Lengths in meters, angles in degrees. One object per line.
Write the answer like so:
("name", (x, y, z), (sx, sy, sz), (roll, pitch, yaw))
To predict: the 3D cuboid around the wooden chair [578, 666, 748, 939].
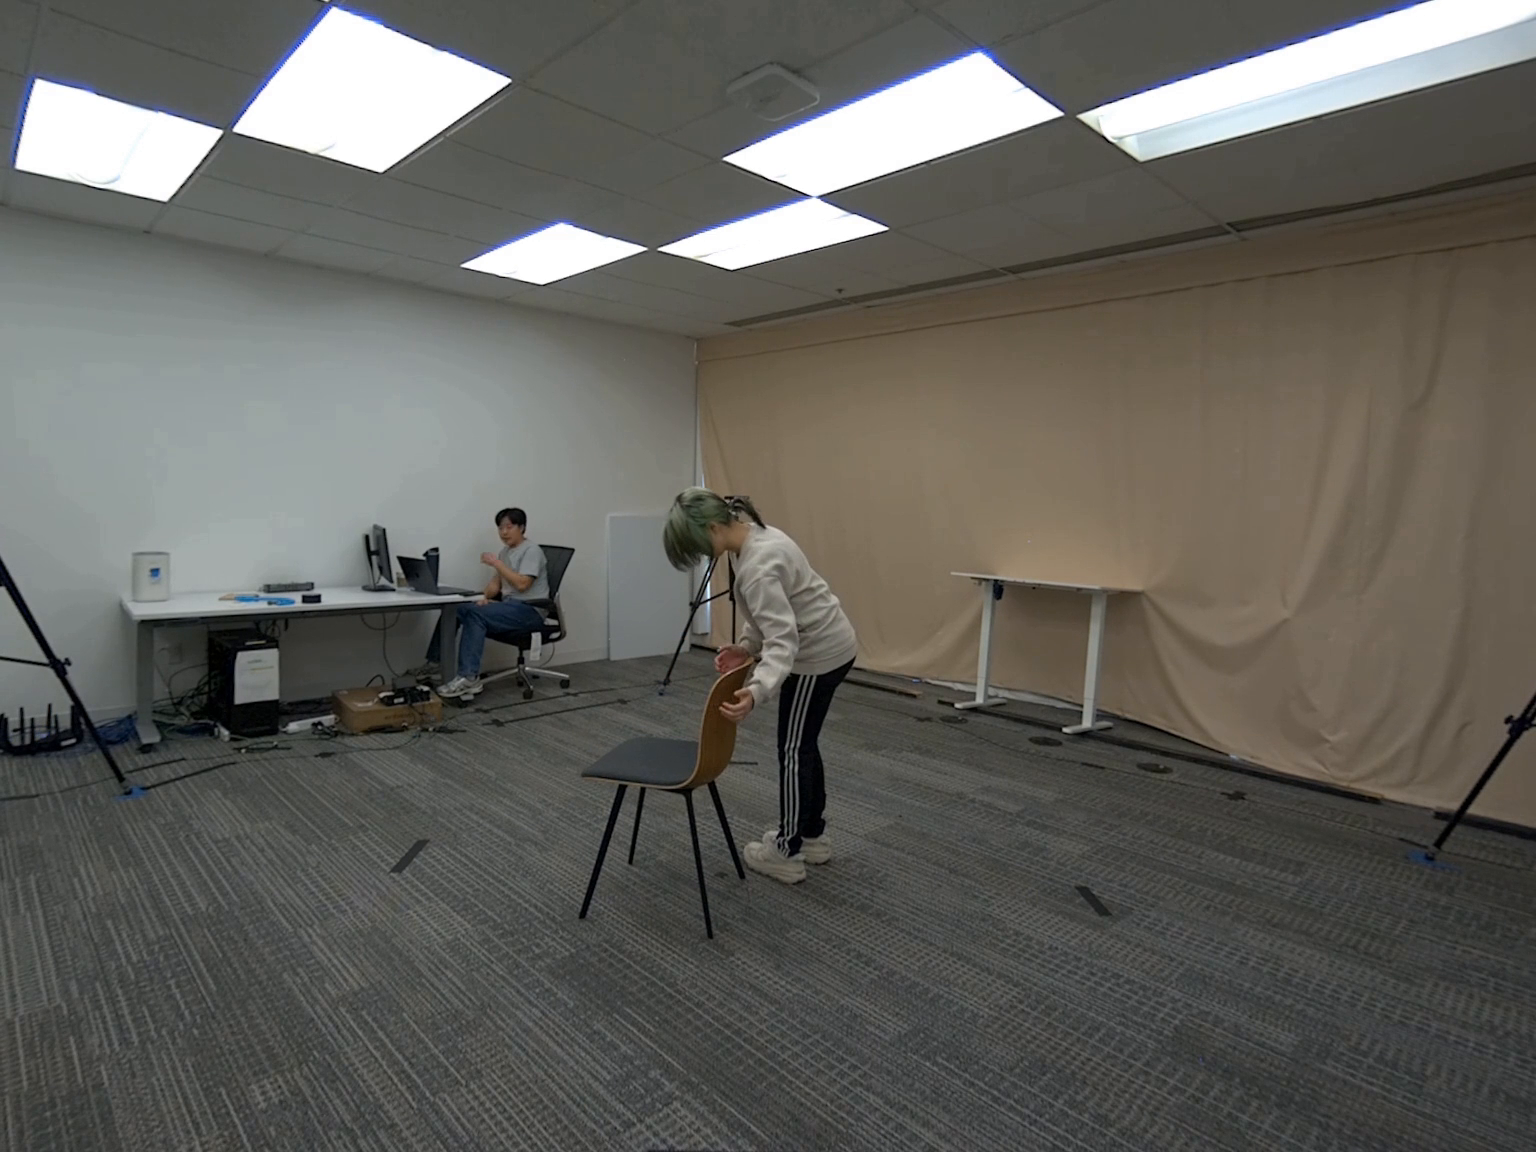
("wooden chair", (-0.355, 0.692, 2.882), (0.529, 0.874, 0.474), (6, 5, 13))
